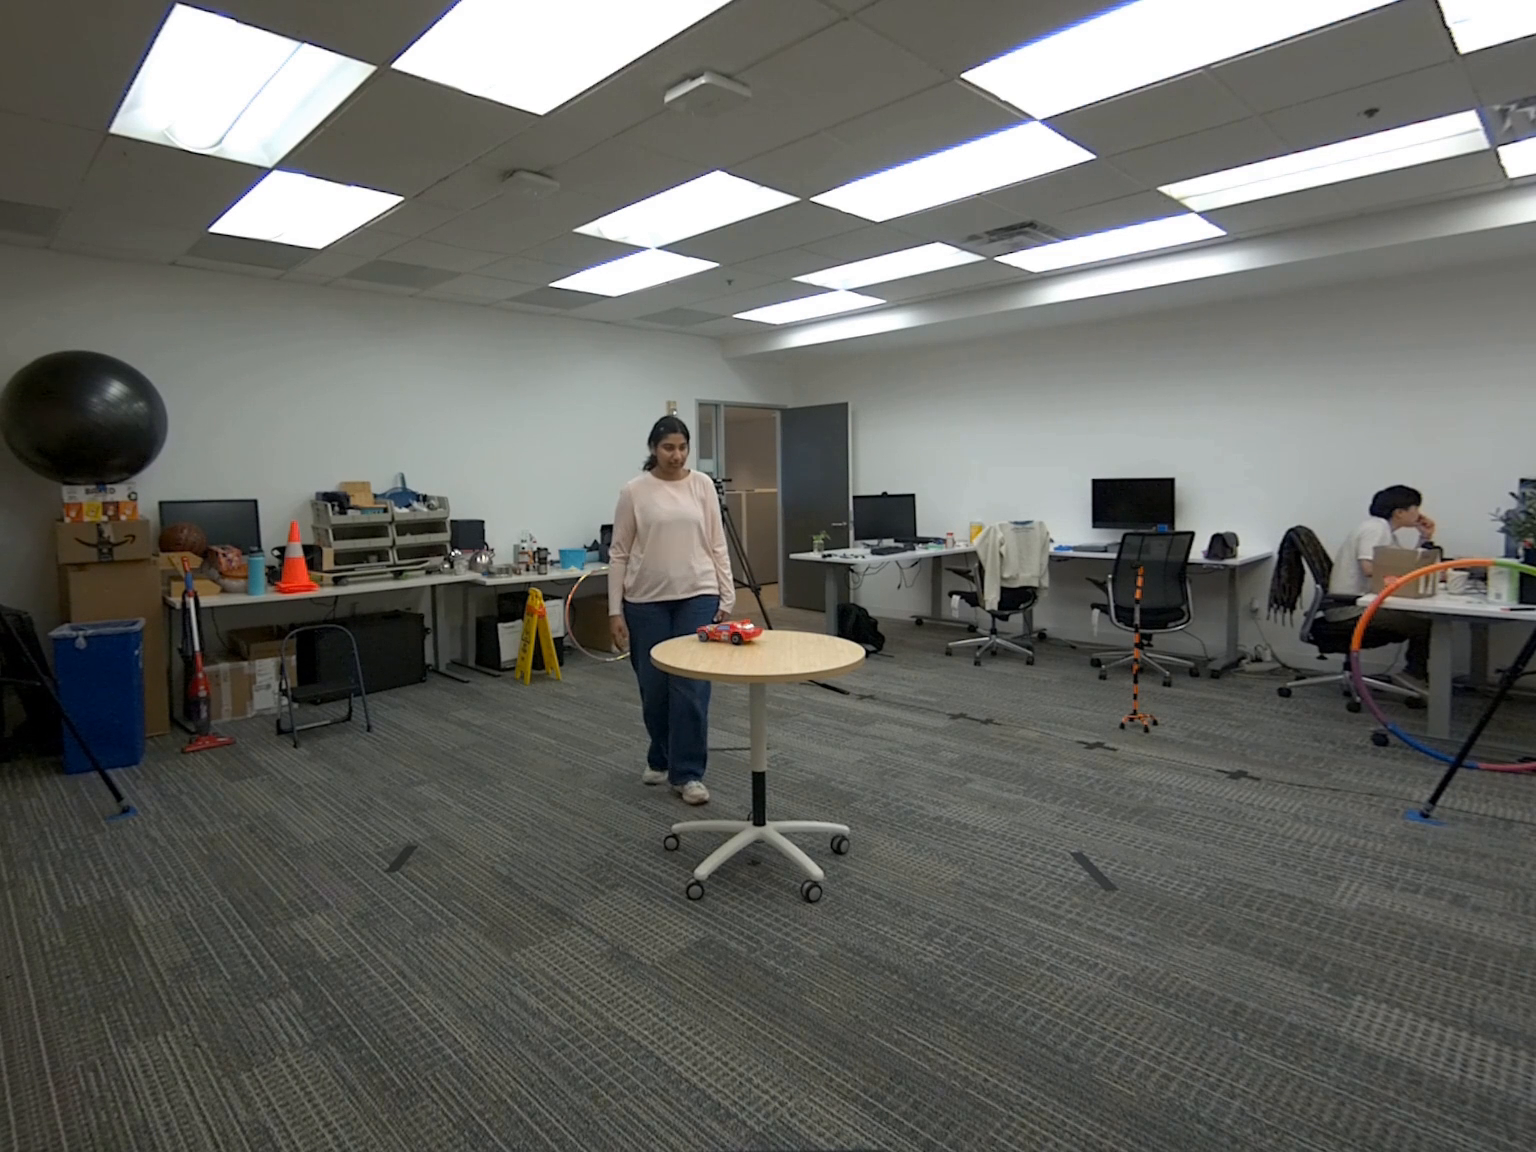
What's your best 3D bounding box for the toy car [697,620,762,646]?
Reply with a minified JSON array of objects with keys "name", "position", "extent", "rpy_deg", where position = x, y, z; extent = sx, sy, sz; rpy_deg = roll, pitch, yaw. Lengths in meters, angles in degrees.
[{"name":"toy car","position":[-0.132,0.218,3.213],"extent":[0.259,0.083,0.128],"rpy_deg":[-10,1,29]}]
